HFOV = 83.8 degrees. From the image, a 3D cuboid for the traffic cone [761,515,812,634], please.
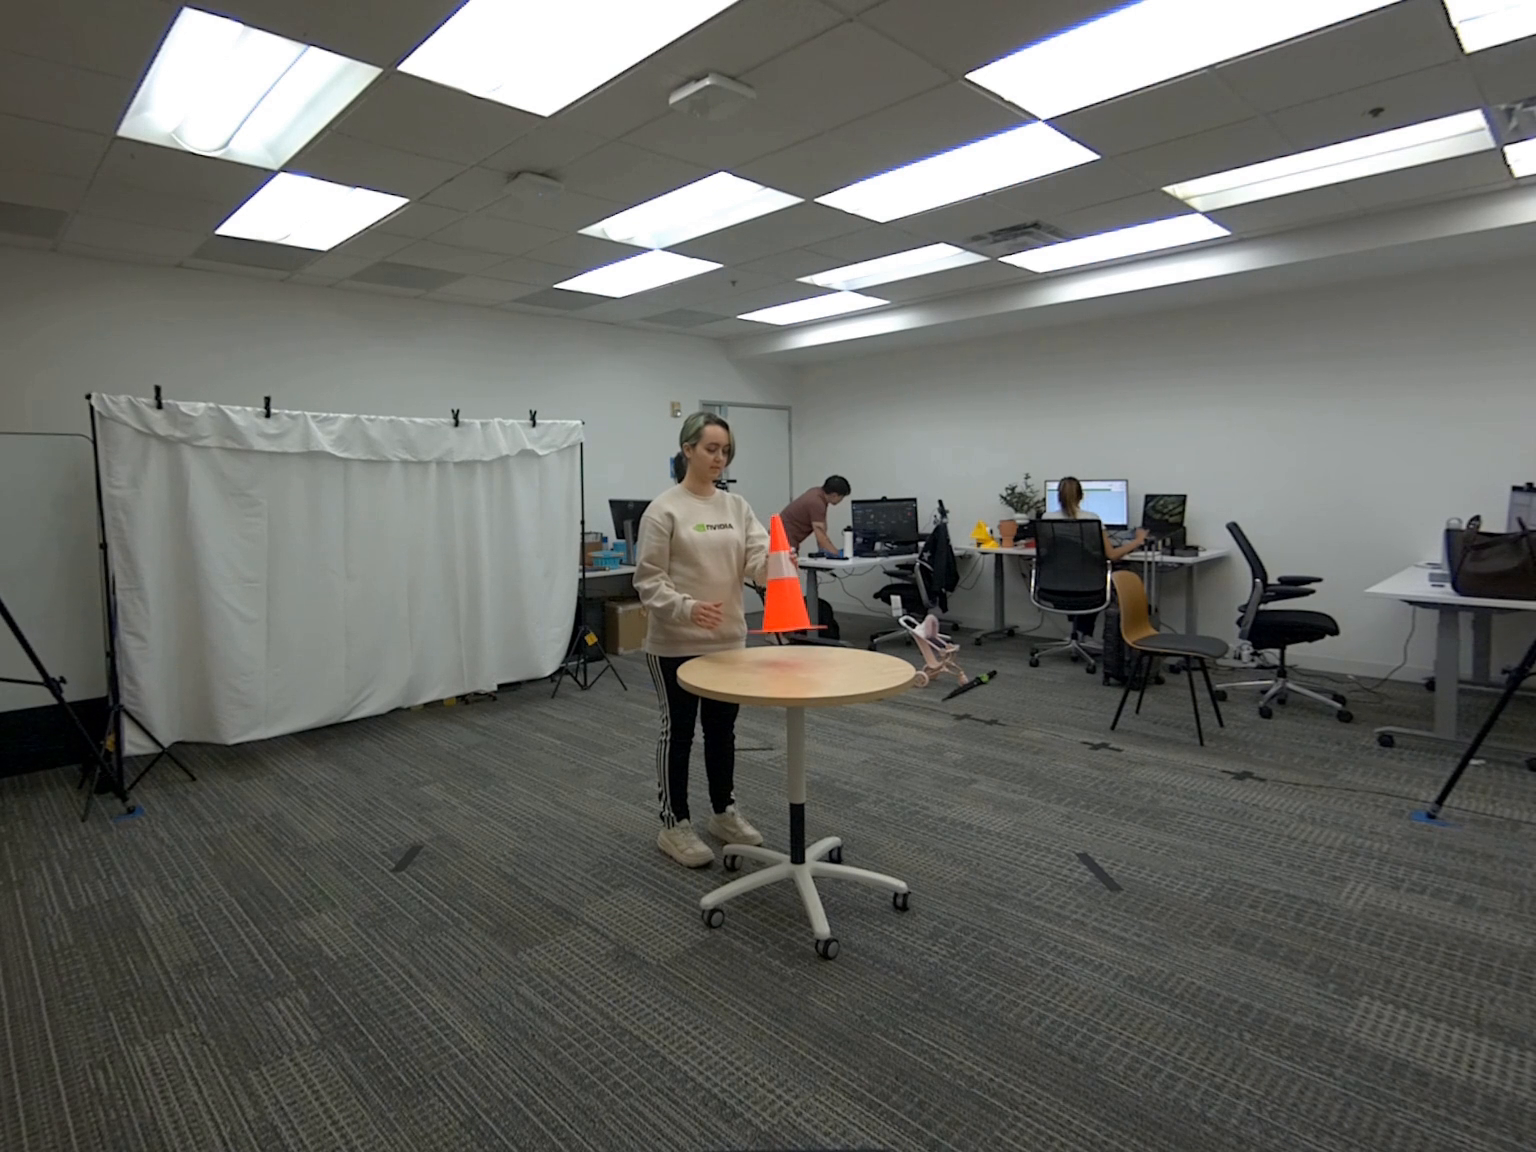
[{"bbox_3d":[0.047,-0.012,2.824,0.208,0.386,0.199,-10,-7,37],"label":"traffic cone"}]
